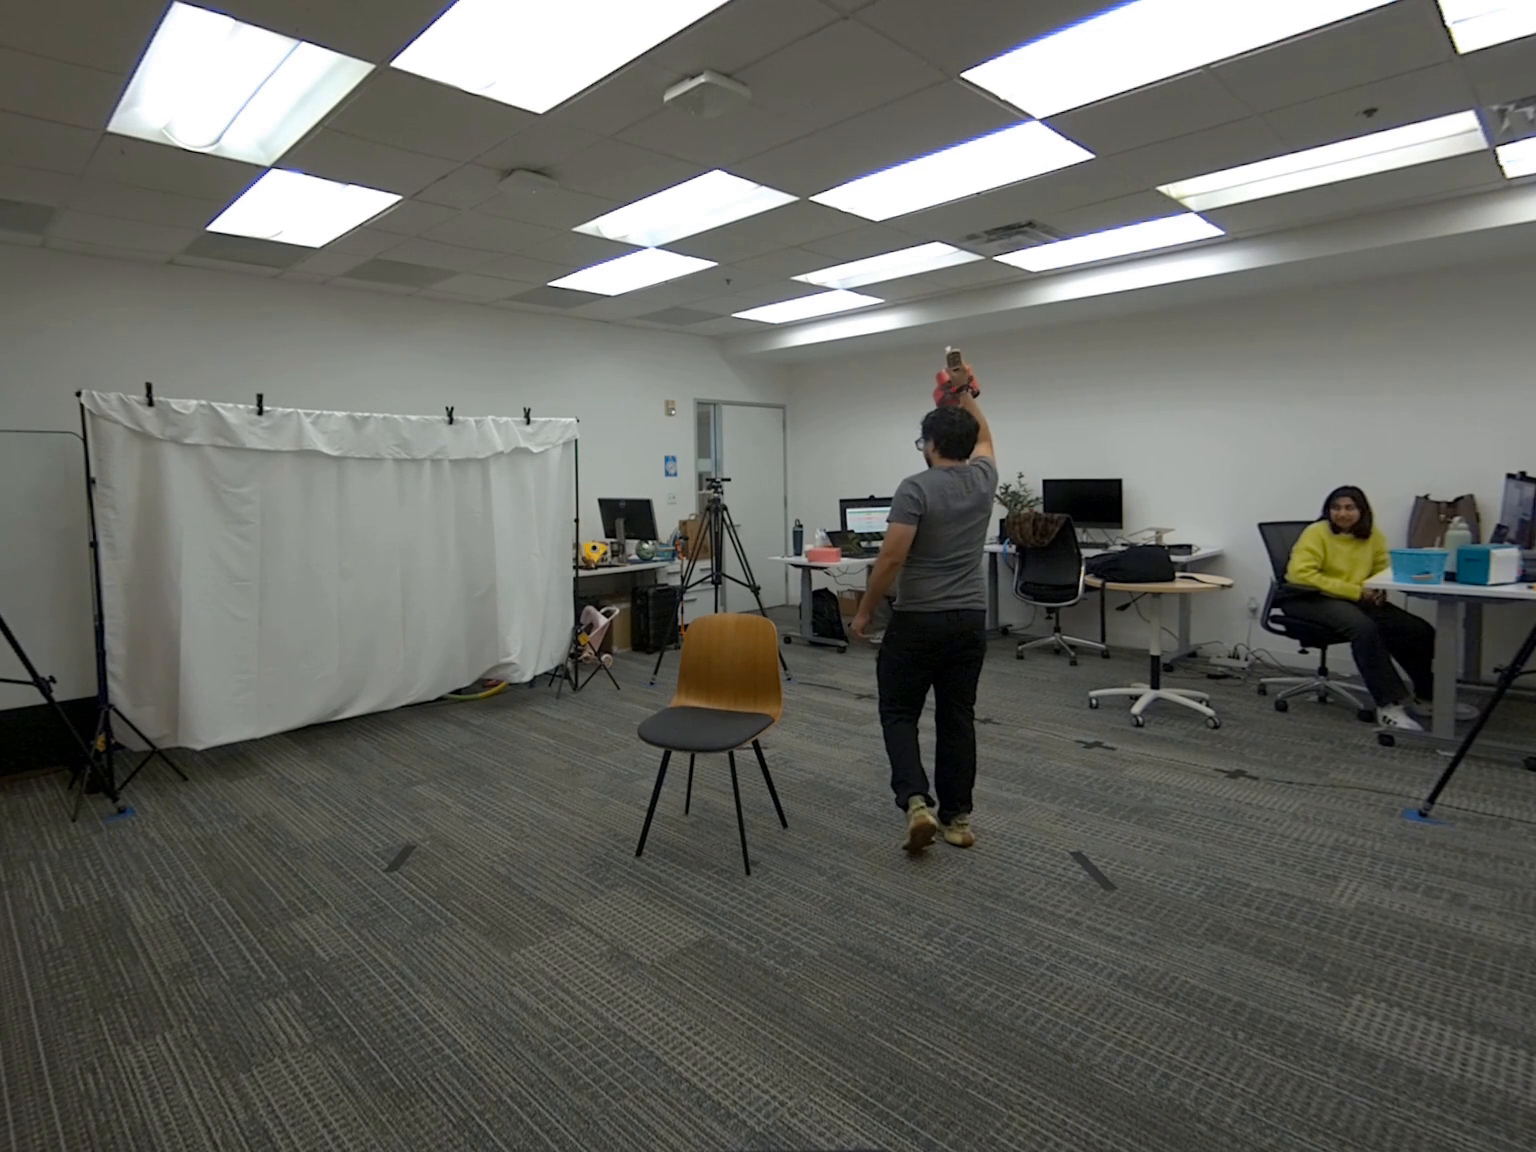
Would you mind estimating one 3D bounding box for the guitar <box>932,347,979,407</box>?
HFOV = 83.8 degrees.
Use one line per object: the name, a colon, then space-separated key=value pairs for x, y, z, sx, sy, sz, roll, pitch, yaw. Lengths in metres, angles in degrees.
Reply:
guitar: x=0.802 y=-0.847 z=3.563 sx=0.193 sy=0.072 sz=0.487 roll=-13 pitch=-17 yaw=2
